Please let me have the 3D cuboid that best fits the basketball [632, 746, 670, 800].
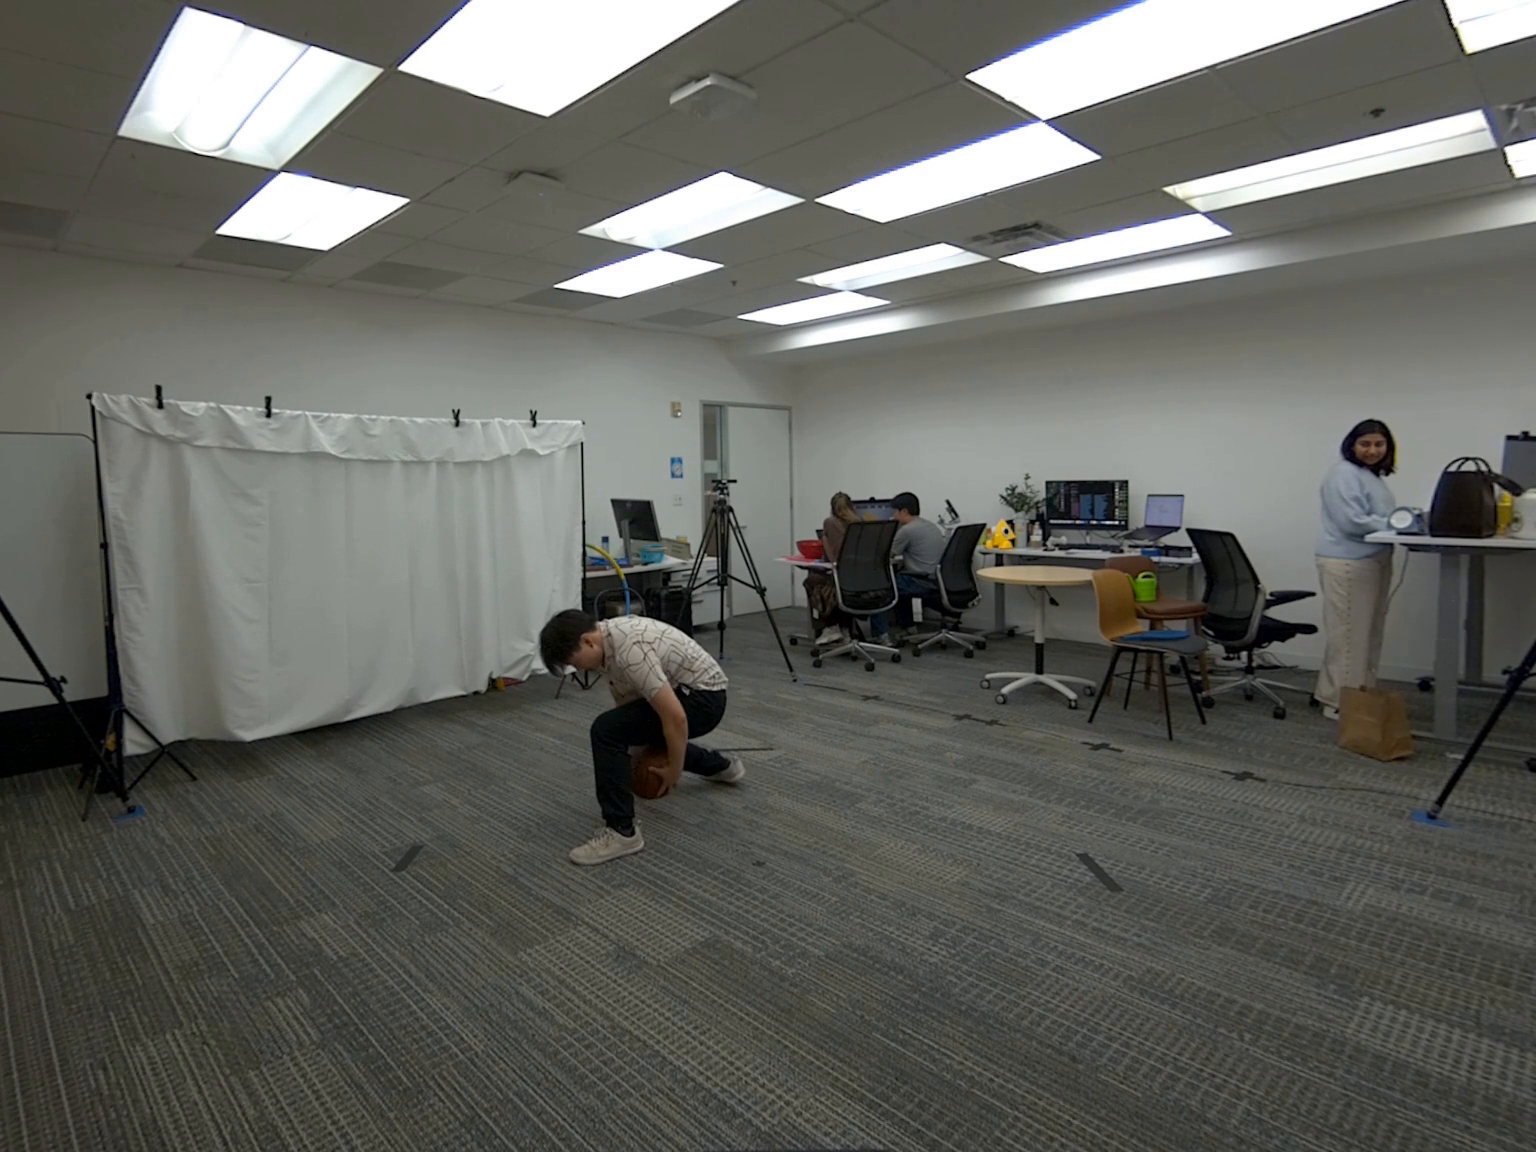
[{"bbox_3d":[-0.486,0.786,3.513,0.236,0.235,0.237,-1,5,-2],"label":"basketball"}]
